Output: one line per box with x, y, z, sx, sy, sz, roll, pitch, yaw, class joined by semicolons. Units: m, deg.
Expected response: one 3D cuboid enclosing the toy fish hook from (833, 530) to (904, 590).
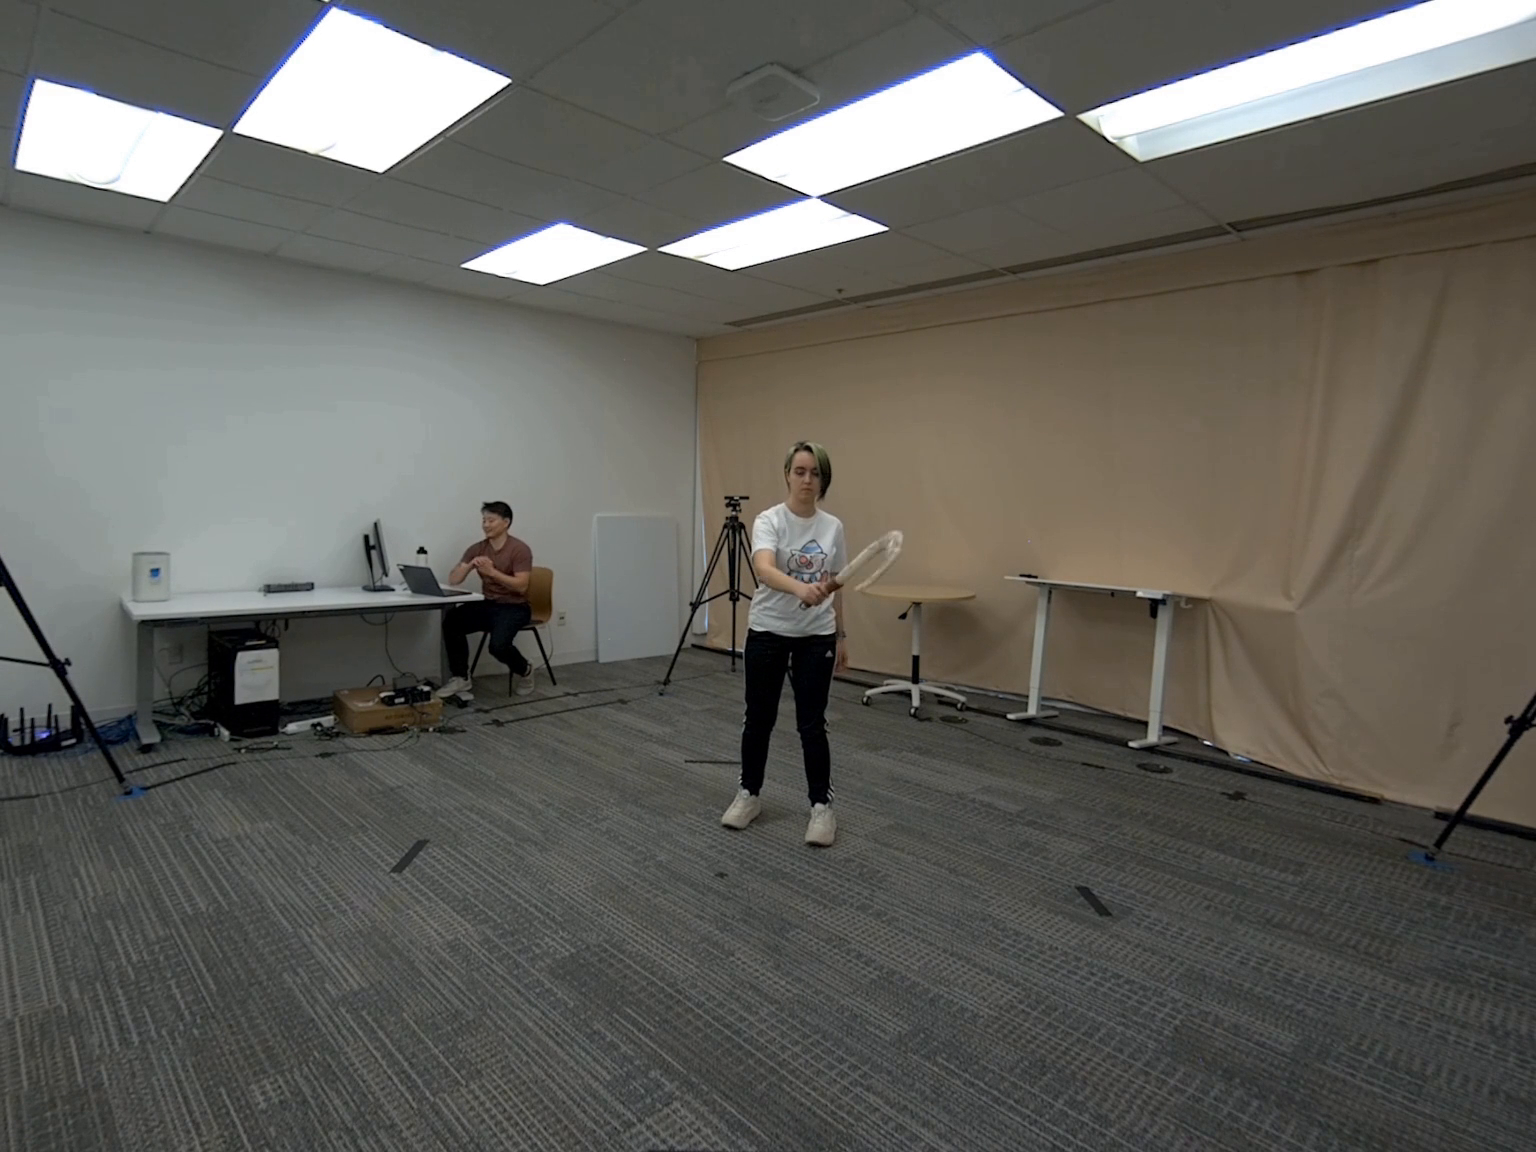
0.254;0.025;2.844;0.508;0.048;0.227;-39;17;37;toy fish hook
